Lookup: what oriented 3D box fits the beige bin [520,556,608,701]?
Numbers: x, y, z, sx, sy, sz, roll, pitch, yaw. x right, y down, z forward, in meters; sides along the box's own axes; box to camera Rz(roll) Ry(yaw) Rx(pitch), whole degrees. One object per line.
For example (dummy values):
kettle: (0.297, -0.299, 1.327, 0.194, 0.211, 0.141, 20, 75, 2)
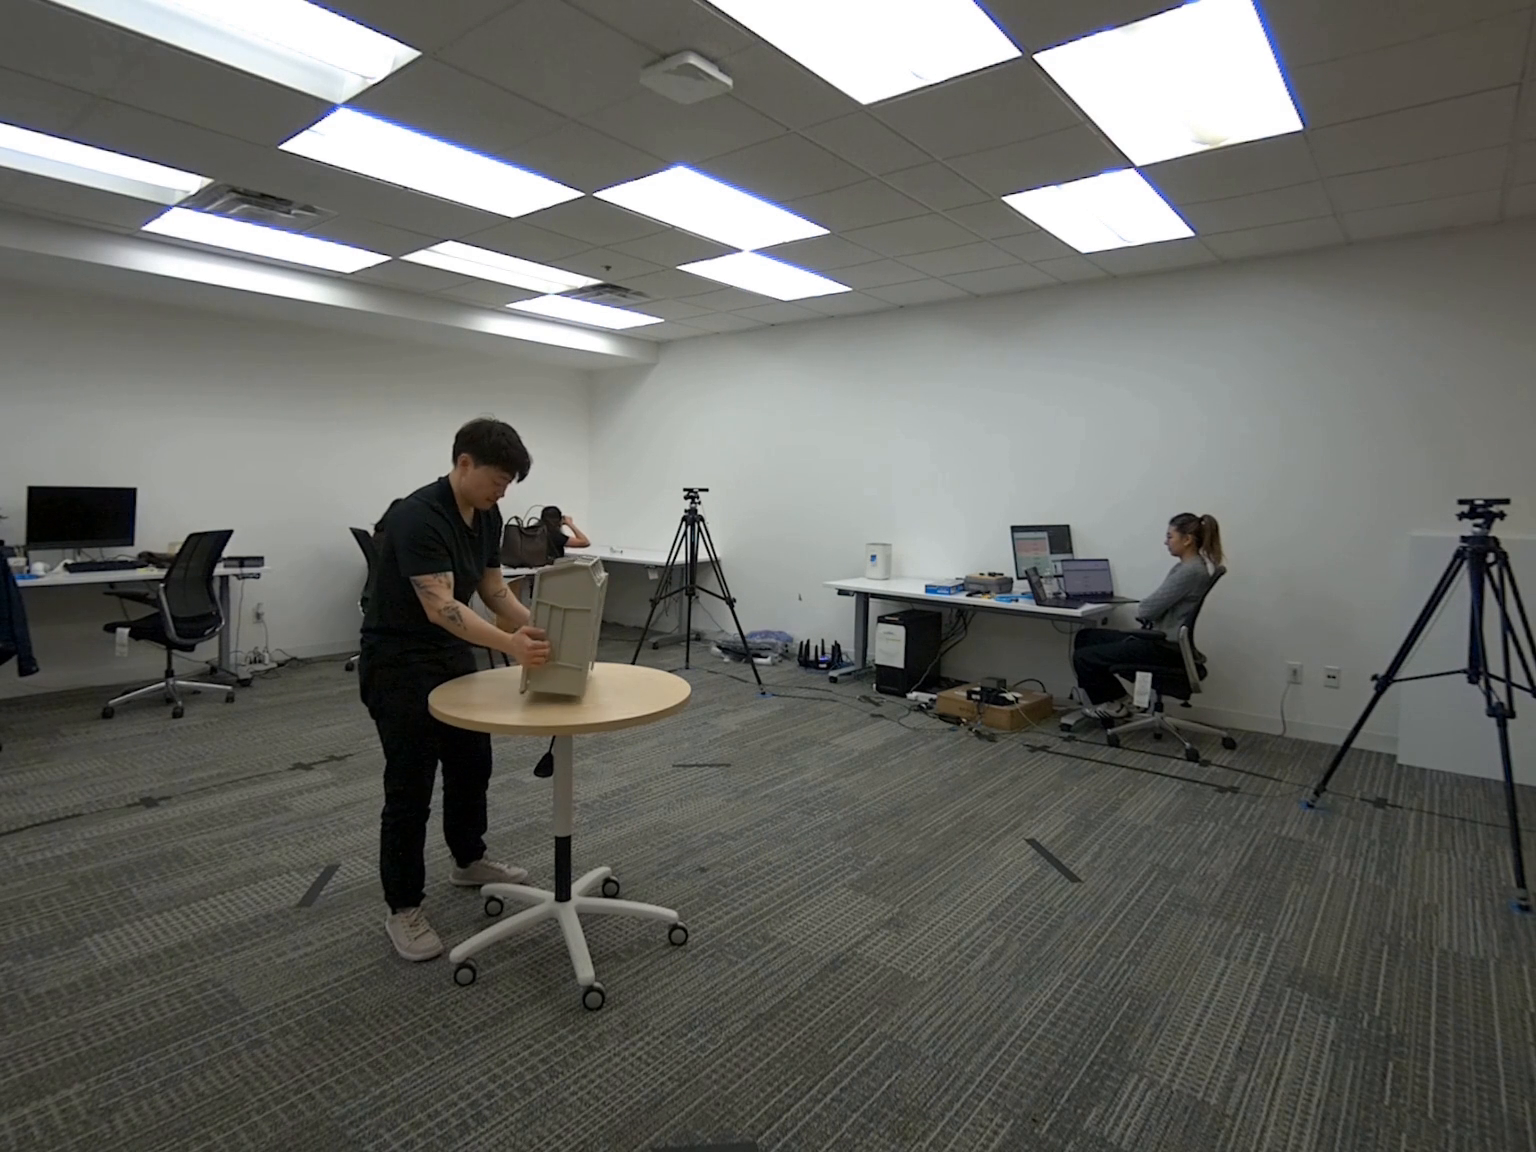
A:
beige bin: (-0.606, 0.119, 2.539, 0.187, 0.377, 0.426, 6, 2, -8)
